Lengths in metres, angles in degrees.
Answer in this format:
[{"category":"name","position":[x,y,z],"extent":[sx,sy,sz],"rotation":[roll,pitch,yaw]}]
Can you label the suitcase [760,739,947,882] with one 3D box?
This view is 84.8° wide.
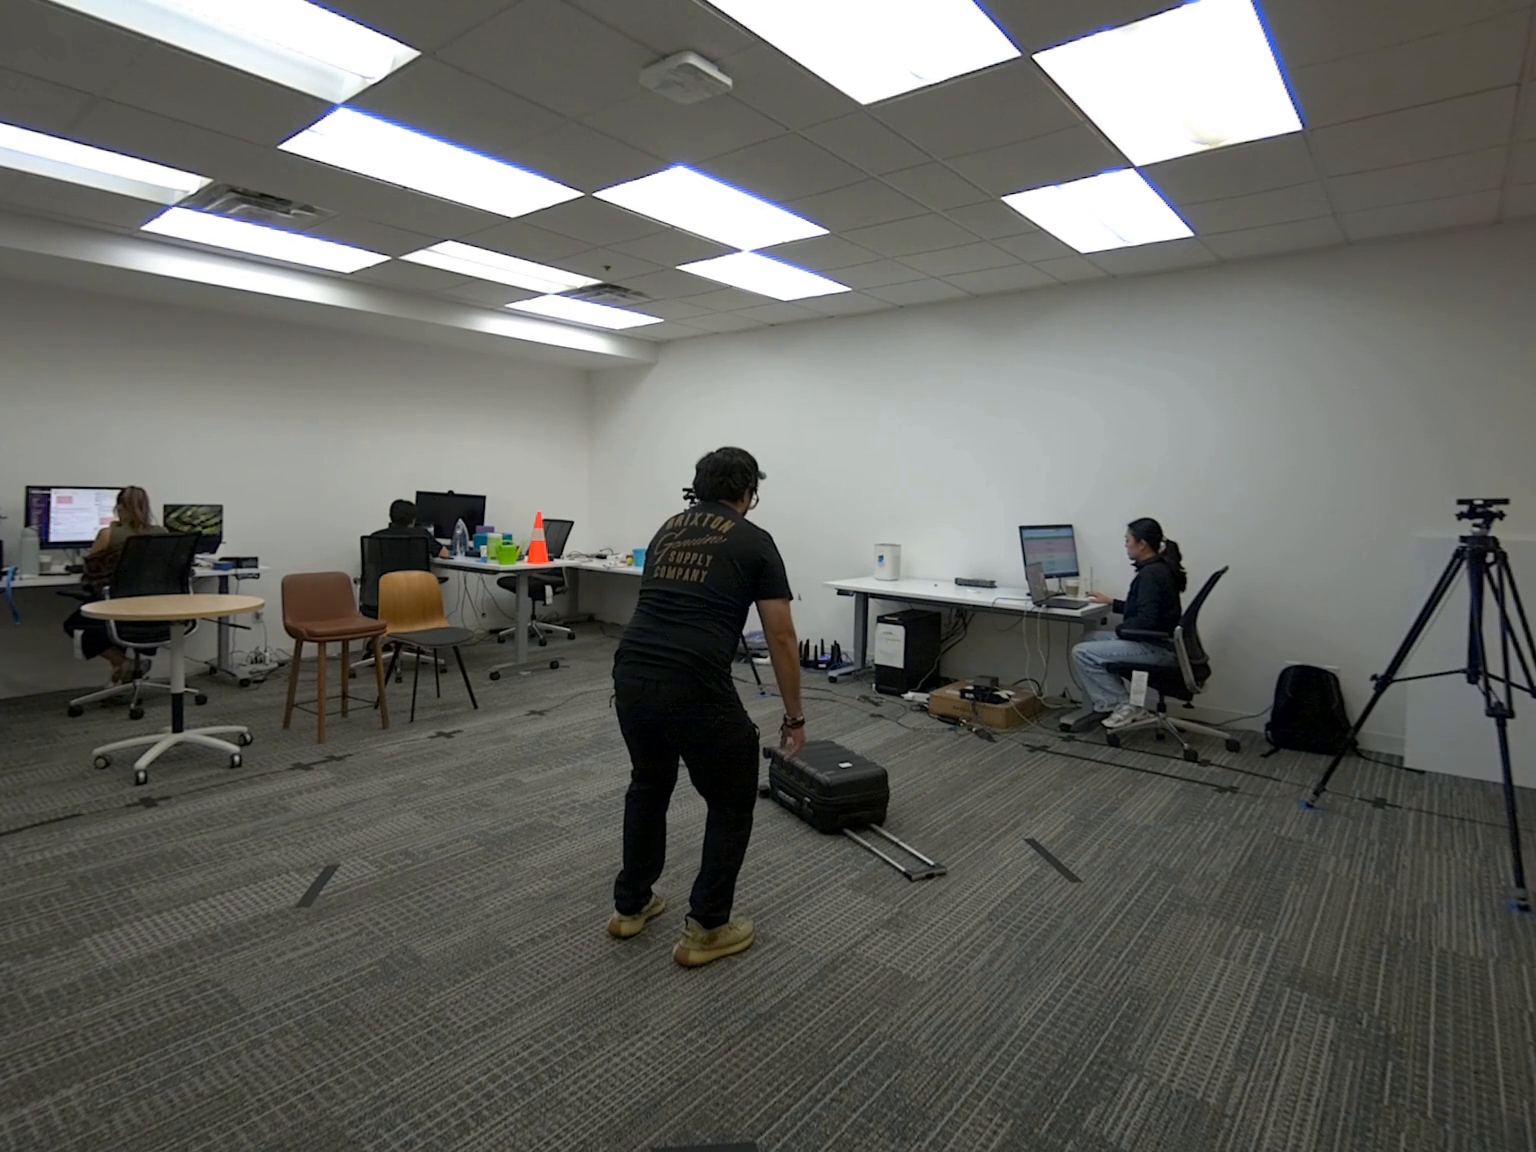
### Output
[{"category":"suitcase","position":[0.340,0.915,3.521],"extent":[0.374,0.256,1.006],"rotation":[0,4,-28]}]
